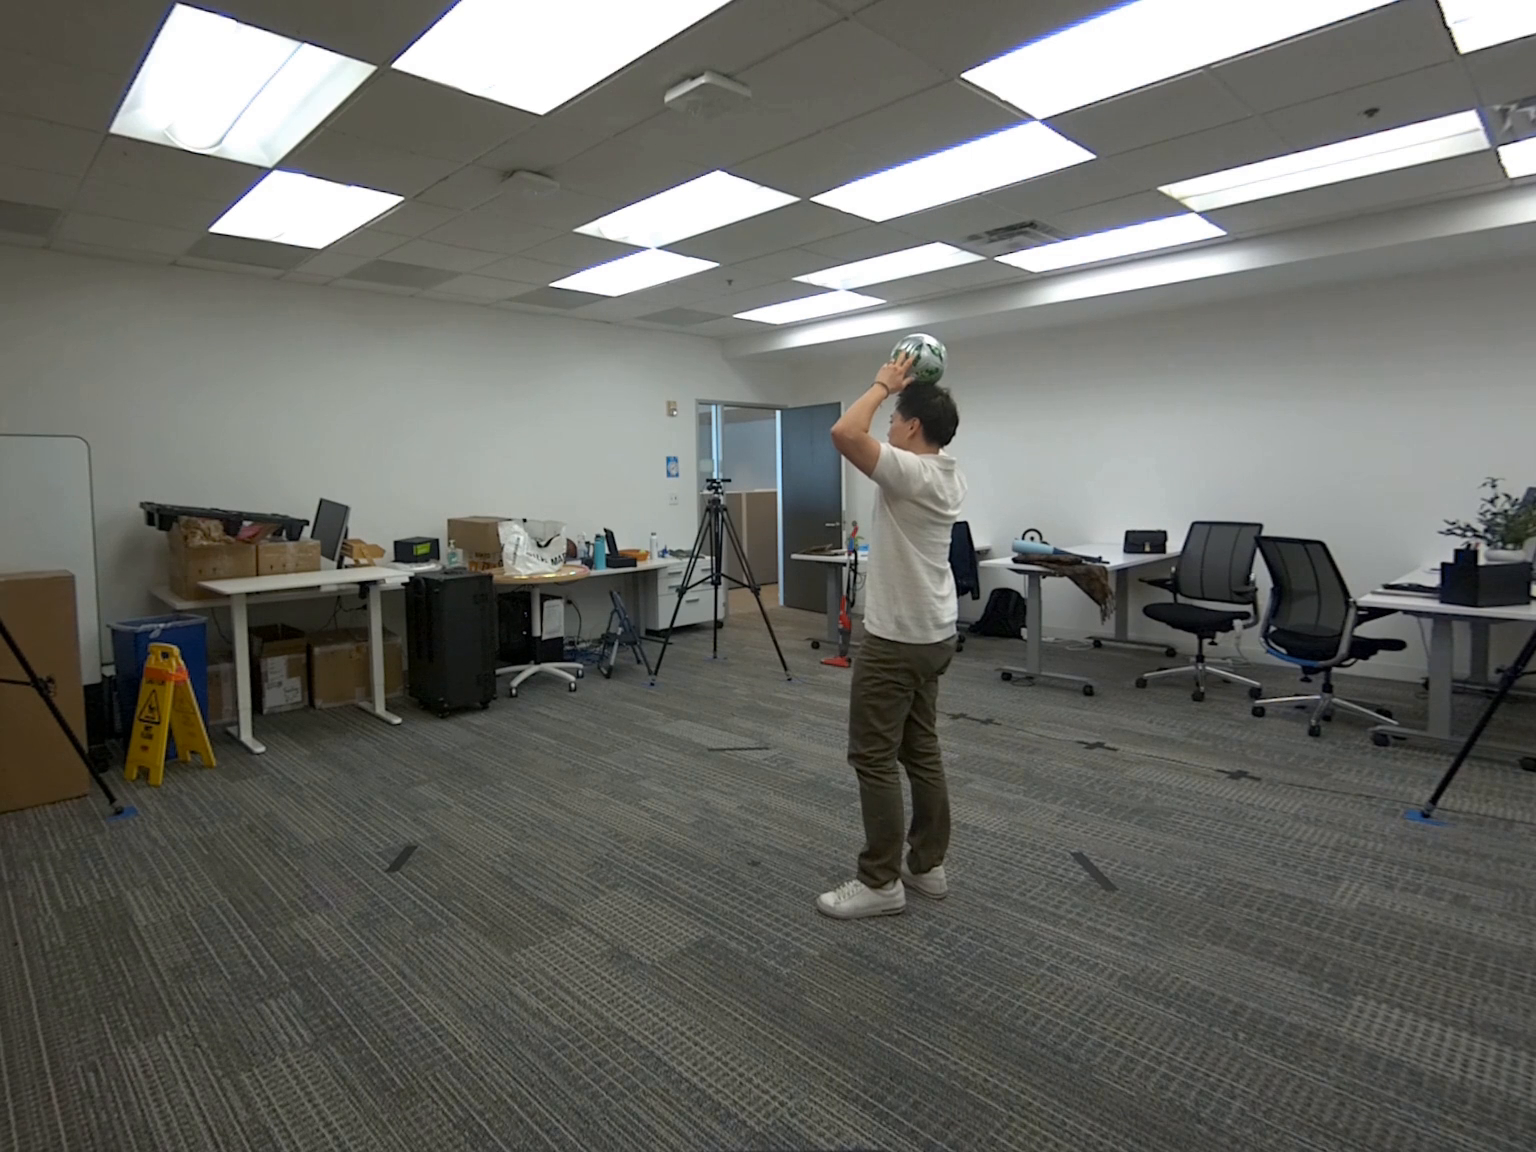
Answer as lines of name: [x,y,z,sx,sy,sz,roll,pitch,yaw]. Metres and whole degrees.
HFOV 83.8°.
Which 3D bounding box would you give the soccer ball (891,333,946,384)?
soccer ball: [0.503,-0.711,2.845,0.187,0.187,0.188,-1,5,-2]
